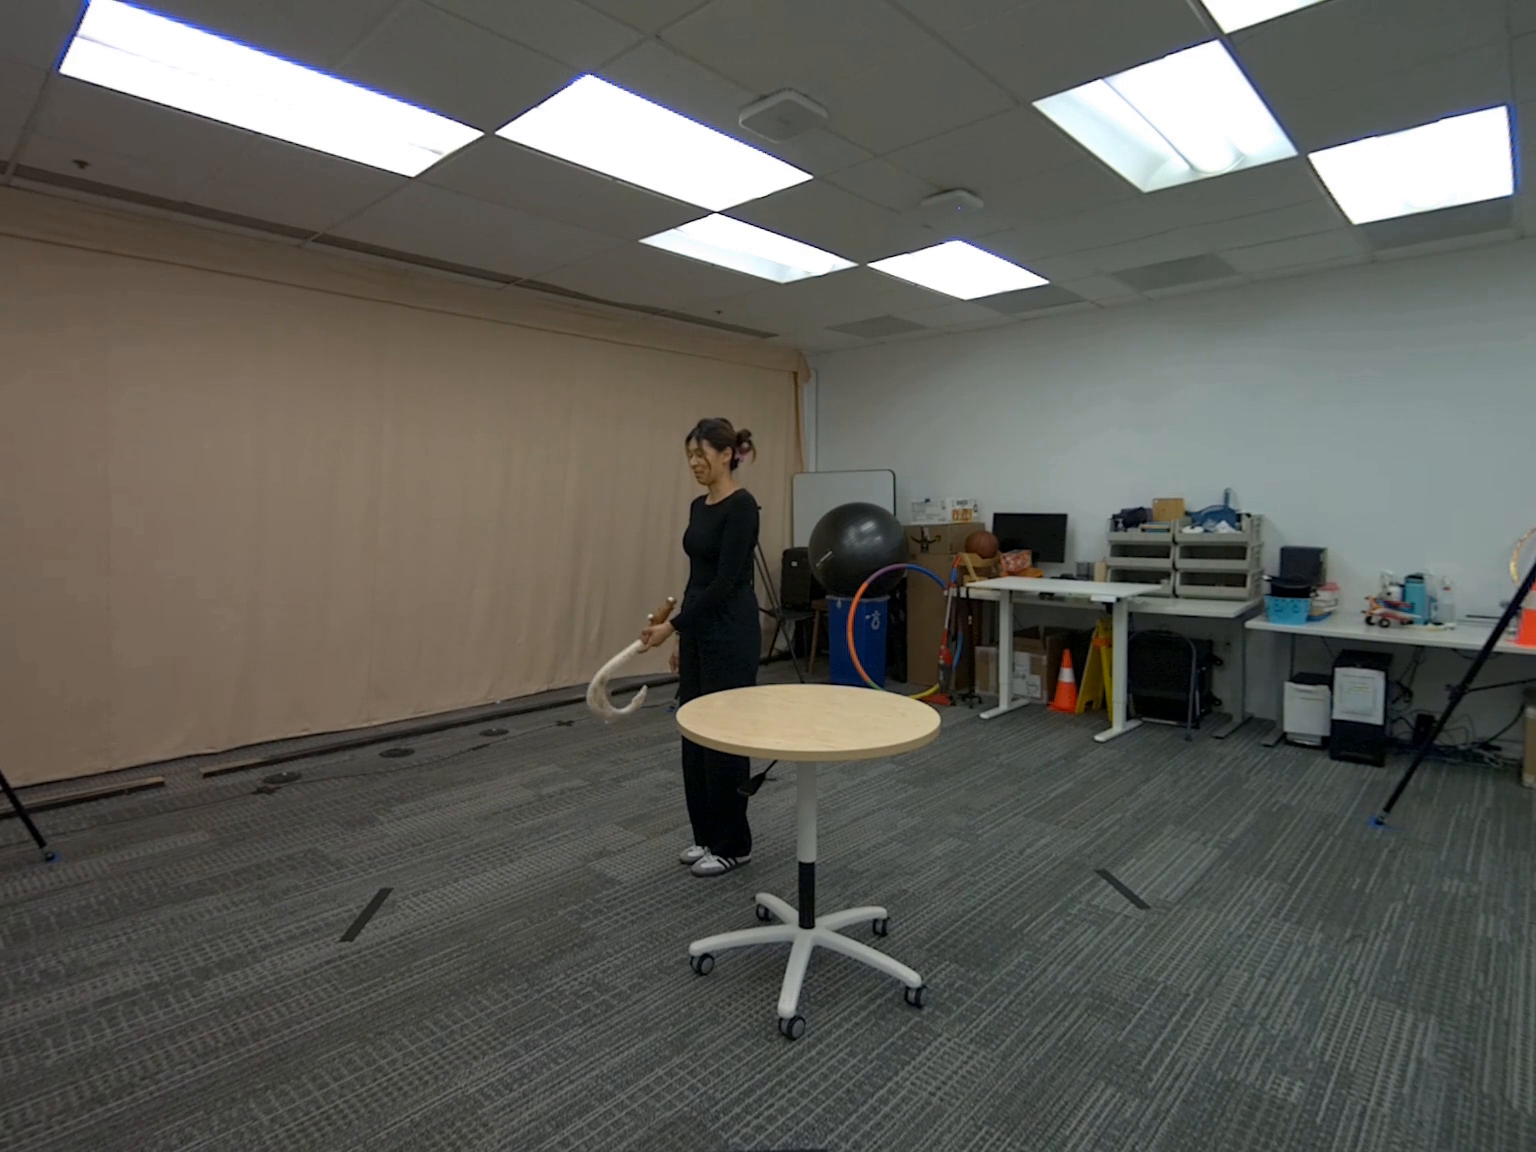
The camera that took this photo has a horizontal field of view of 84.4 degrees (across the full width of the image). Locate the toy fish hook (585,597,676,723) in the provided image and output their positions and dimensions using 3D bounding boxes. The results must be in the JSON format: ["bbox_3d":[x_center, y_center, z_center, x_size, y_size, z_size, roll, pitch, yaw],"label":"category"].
[{"bbox_3d":[-0.475,0.289,3.071,0.050,0.505,0.217,19,-23,51],"label":"toy fish hook"}]
